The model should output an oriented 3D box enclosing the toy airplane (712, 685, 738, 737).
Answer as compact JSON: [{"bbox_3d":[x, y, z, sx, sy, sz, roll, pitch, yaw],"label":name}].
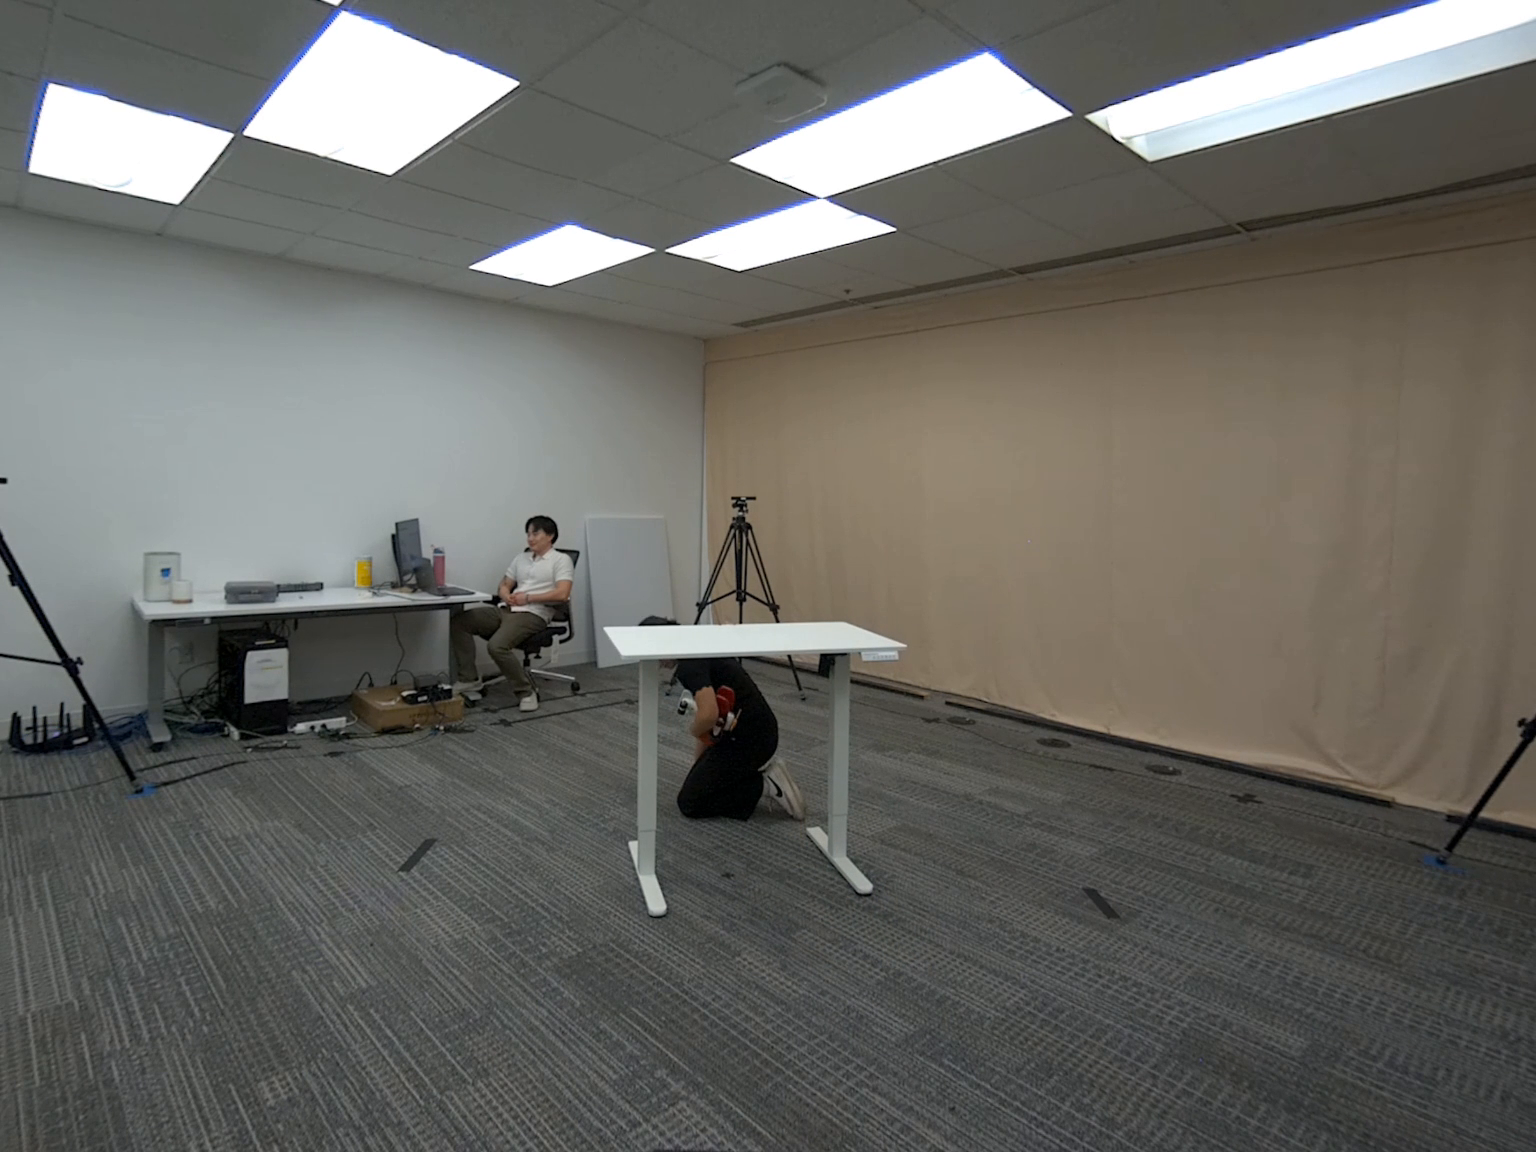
[{"bbox_3d":[-0.263,0.567,3.597,0.252,0.261,0.155,-39,-5,35],"label":"toy airplane"}]
